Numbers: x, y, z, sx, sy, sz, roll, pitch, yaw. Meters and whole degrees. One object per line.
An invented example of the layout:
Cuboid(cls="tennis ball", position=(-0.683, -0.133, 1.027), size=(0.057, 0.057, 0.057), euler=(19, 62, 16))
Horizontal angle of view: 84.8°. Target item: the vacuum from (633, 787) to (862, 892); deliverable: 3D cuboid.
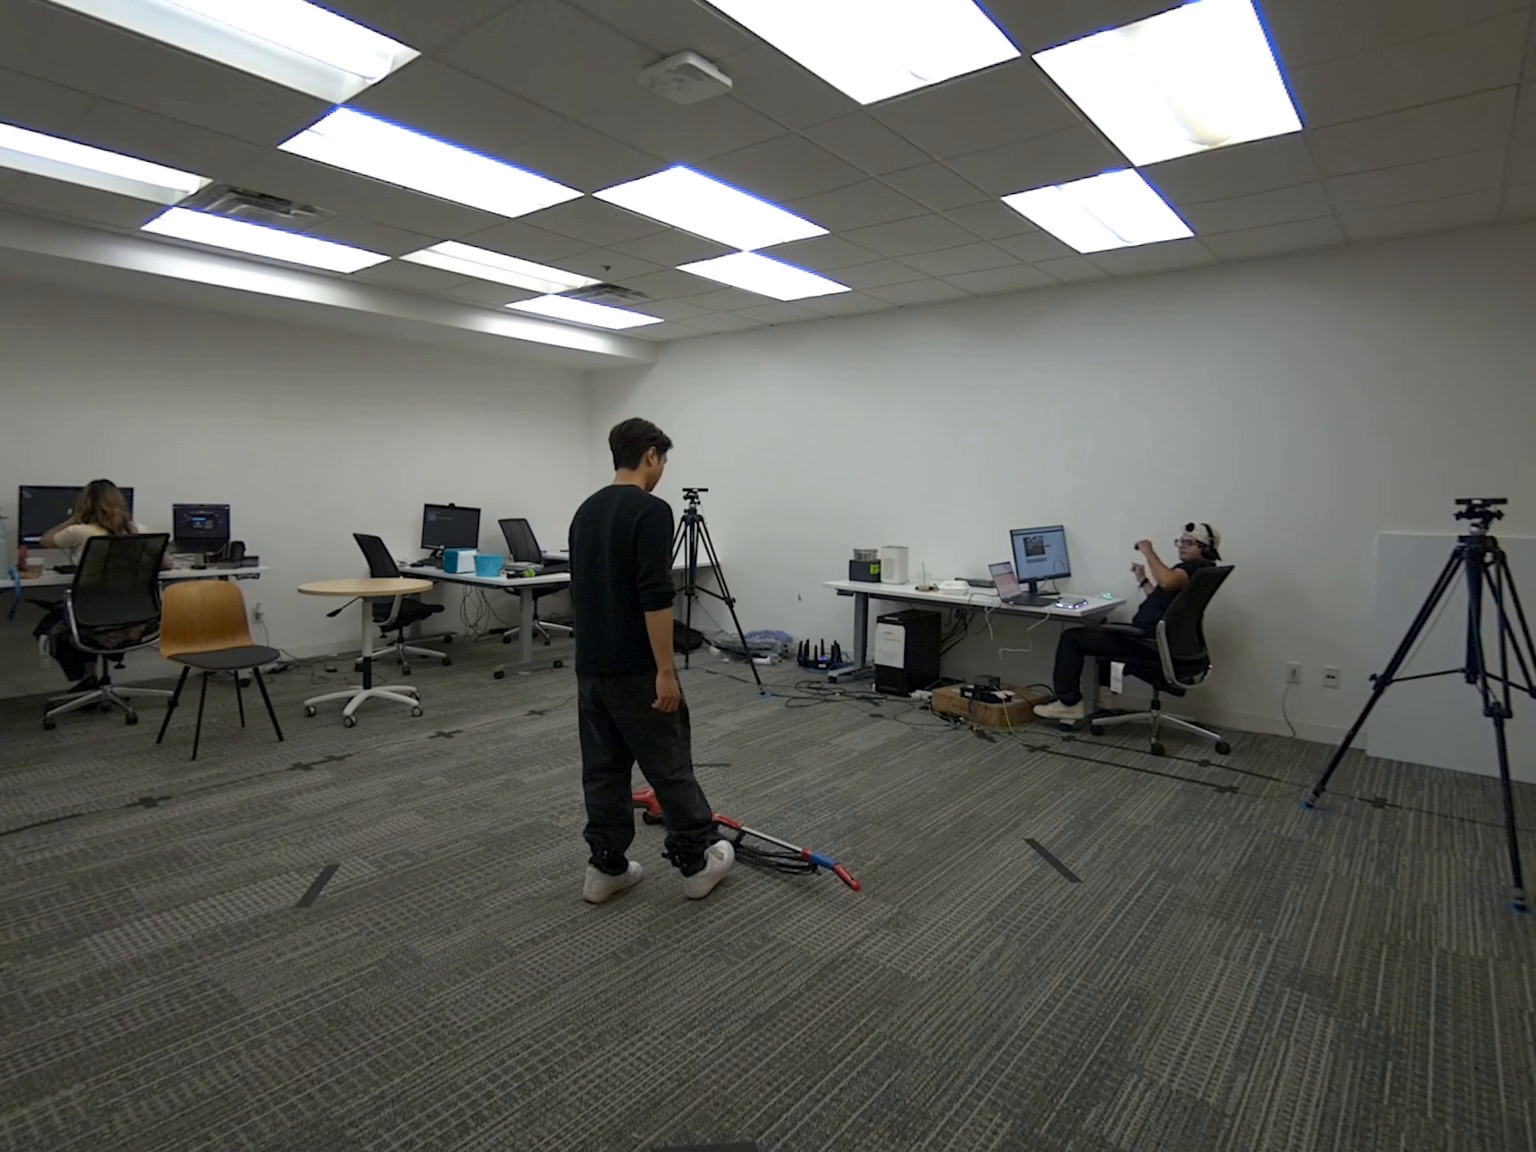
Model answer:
Cuboid(cls="vacuum", position=(-0.098, 0.998, 3.218), size=(1.086, 0.143, 0.245), euler=(7, 10, 43))
